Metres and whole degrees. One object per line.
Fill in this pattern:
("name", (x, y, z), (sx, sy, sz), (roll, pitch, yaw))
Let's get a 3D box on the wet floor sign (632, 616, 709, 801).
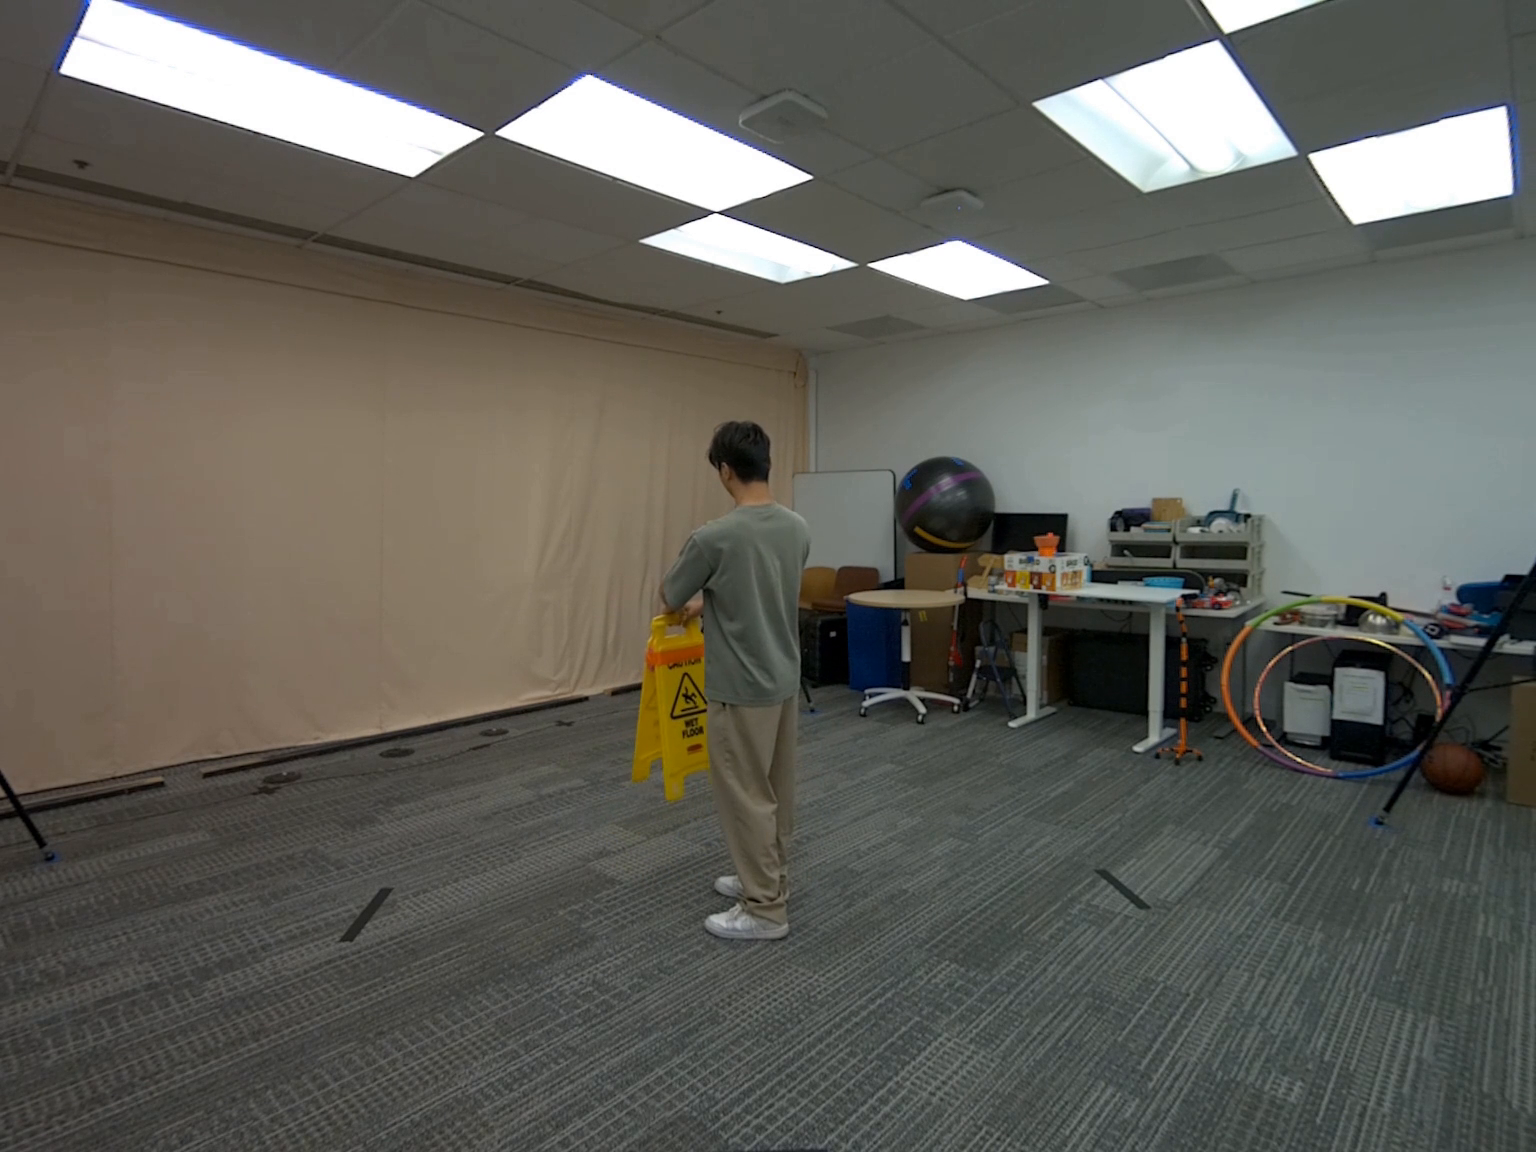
("wet floor sign", (-0.340, 0.471, 3.171), (0.274, 0.644, 0.299), (-5, 7, -37))
